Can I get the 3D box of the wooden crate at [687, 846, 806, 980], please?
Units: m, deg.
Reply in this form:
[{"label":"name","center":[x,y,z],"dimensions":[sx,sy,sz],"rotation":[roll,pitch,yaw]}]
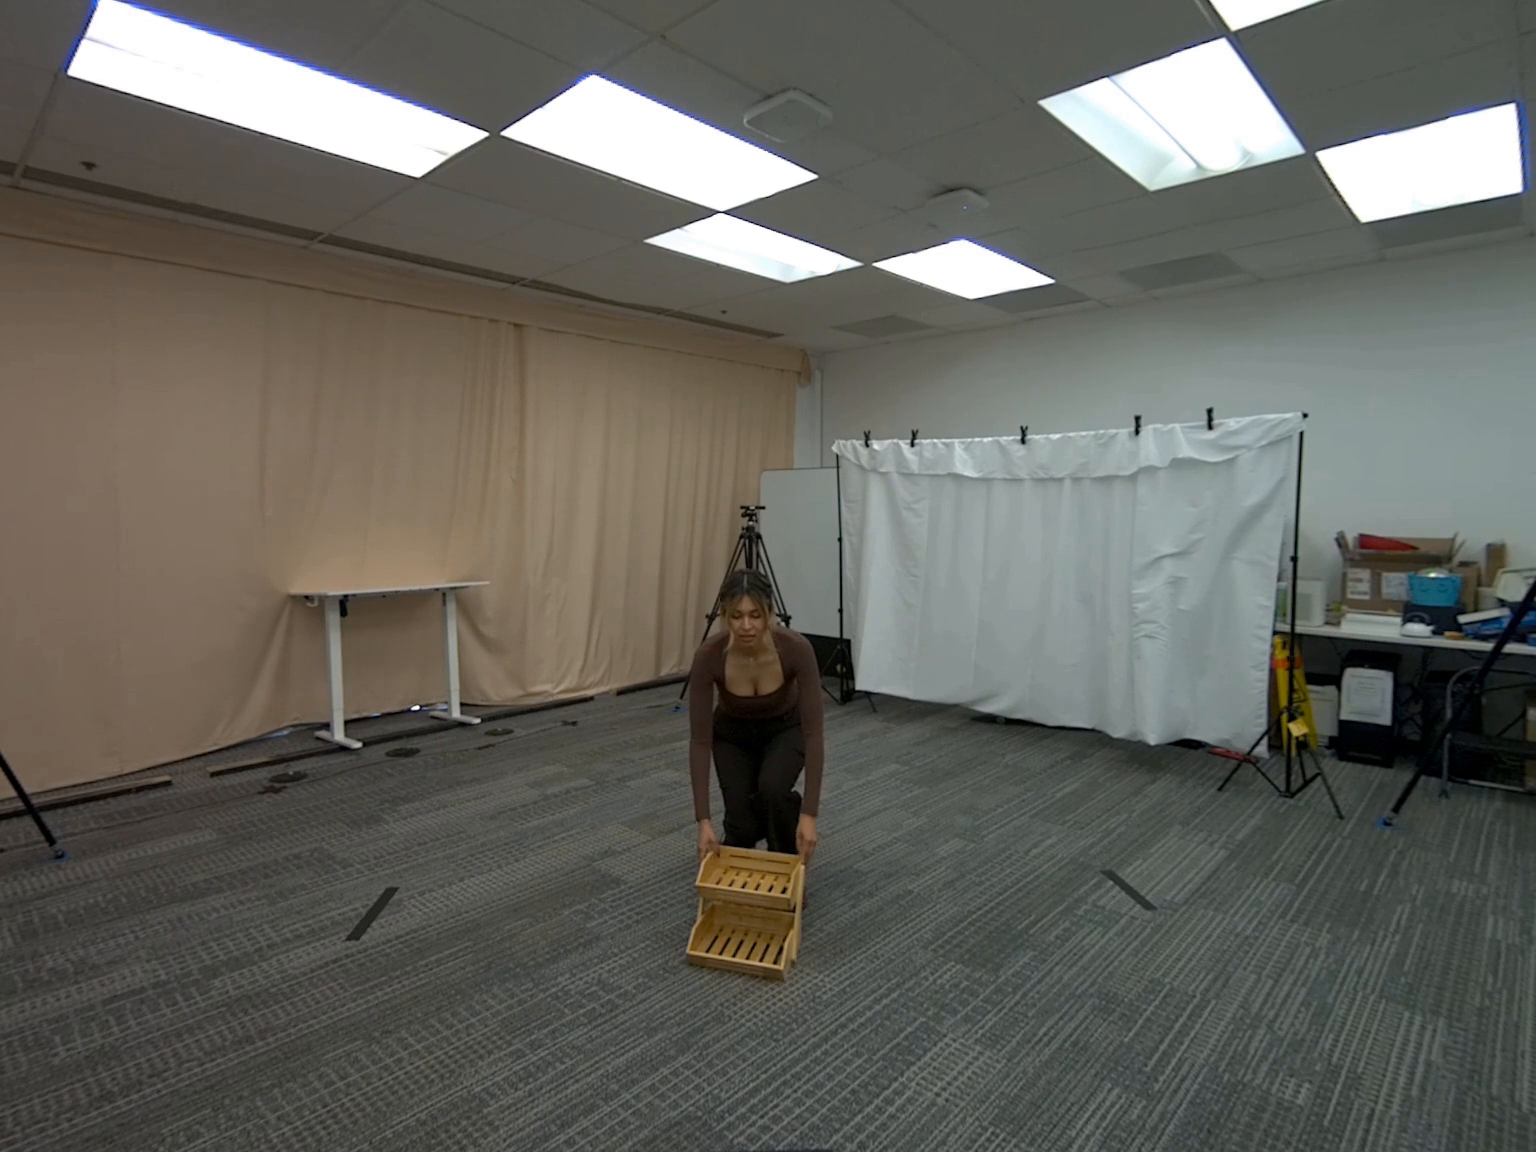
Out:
[{"label":"wooden crate","center":[-0.065,1.033,2.629],"dimensions":[0.330,0.273,0.297],"rotation":[1,4,16]}]
